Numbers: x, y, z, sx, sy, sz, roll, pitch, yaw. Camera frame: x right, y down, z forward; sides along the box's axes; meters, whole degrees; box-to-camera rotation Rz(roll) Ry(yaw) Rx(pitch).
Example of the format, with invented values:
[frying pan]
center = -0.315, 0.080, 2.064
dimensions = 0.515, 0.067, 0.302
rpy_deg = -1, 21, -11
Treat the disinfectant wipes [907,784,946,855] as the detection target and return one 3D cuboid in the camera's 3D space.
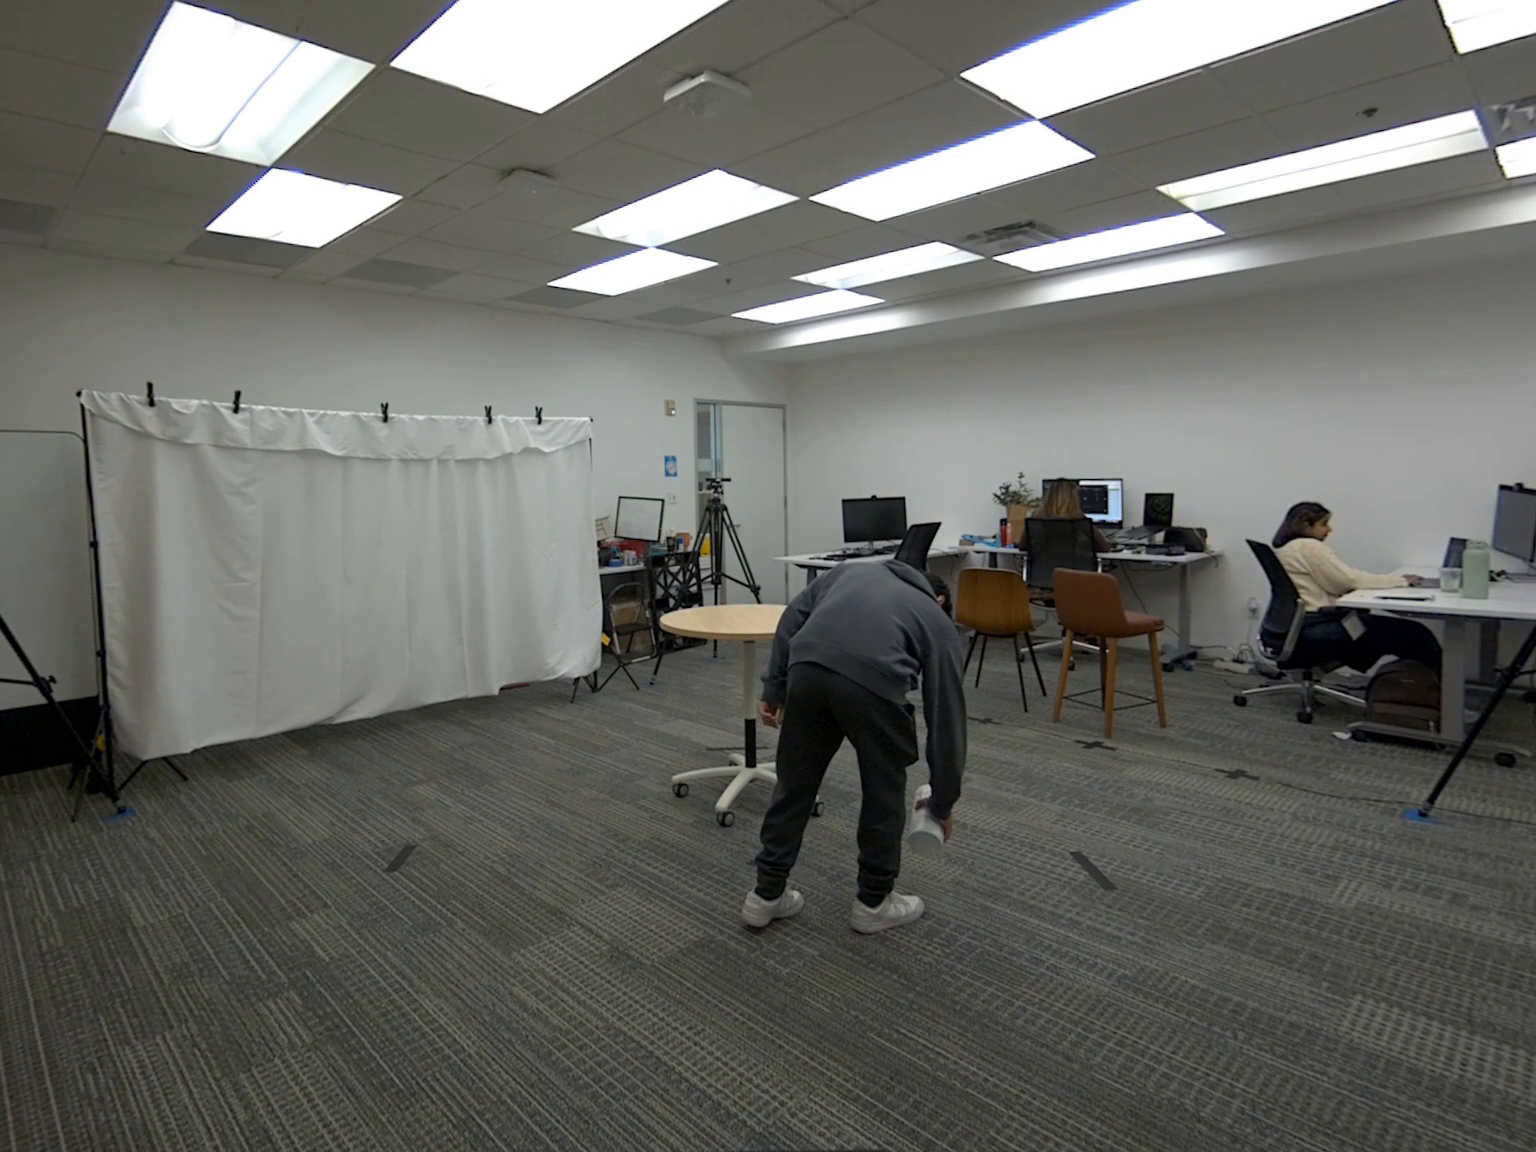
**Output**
[disinfectant wipes]
center = 0.531, 0.794, 2.800
dimensions = 0.120, 0.115, 0.219
rpy_deg = 0, 30, 16
